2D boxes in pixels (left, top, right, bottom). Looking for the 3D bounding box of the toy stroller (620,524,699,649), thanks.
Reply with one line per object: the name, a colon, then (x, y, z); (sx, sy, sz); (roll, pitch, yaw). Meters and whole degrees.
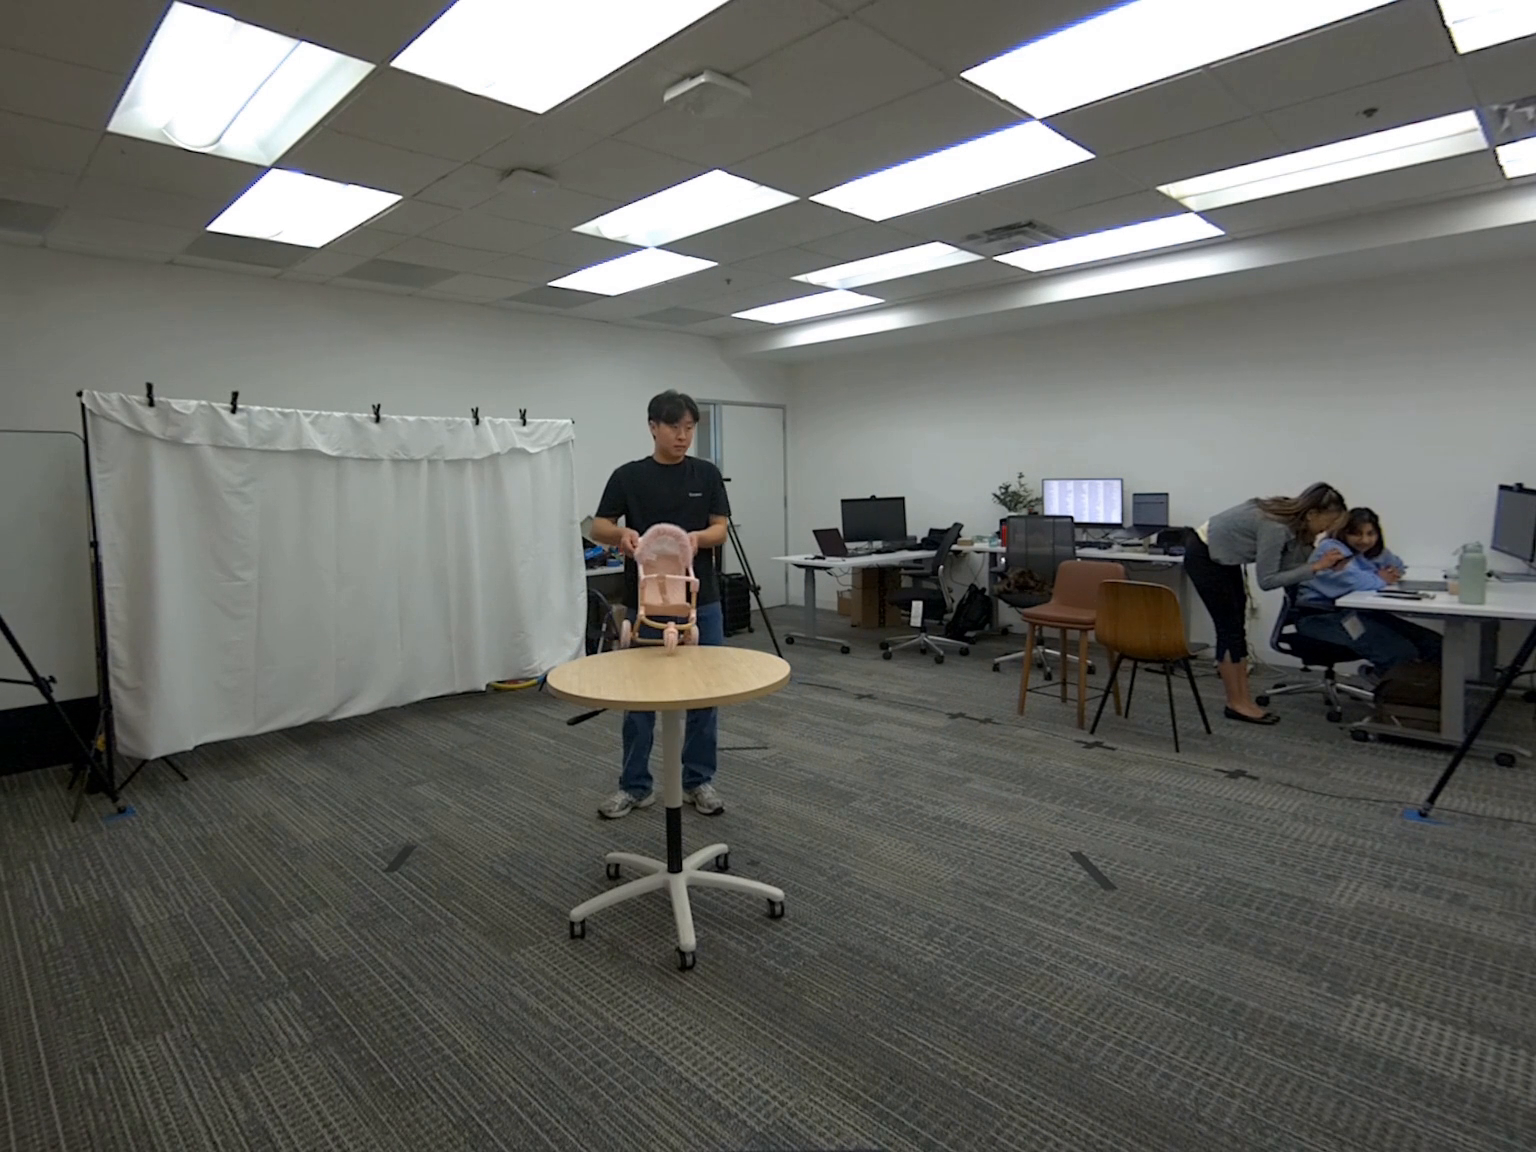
toy stroller: (-0.380, 0.048, 3.126); (0.278, 0.545, 0.339); (3, -21, -11)
